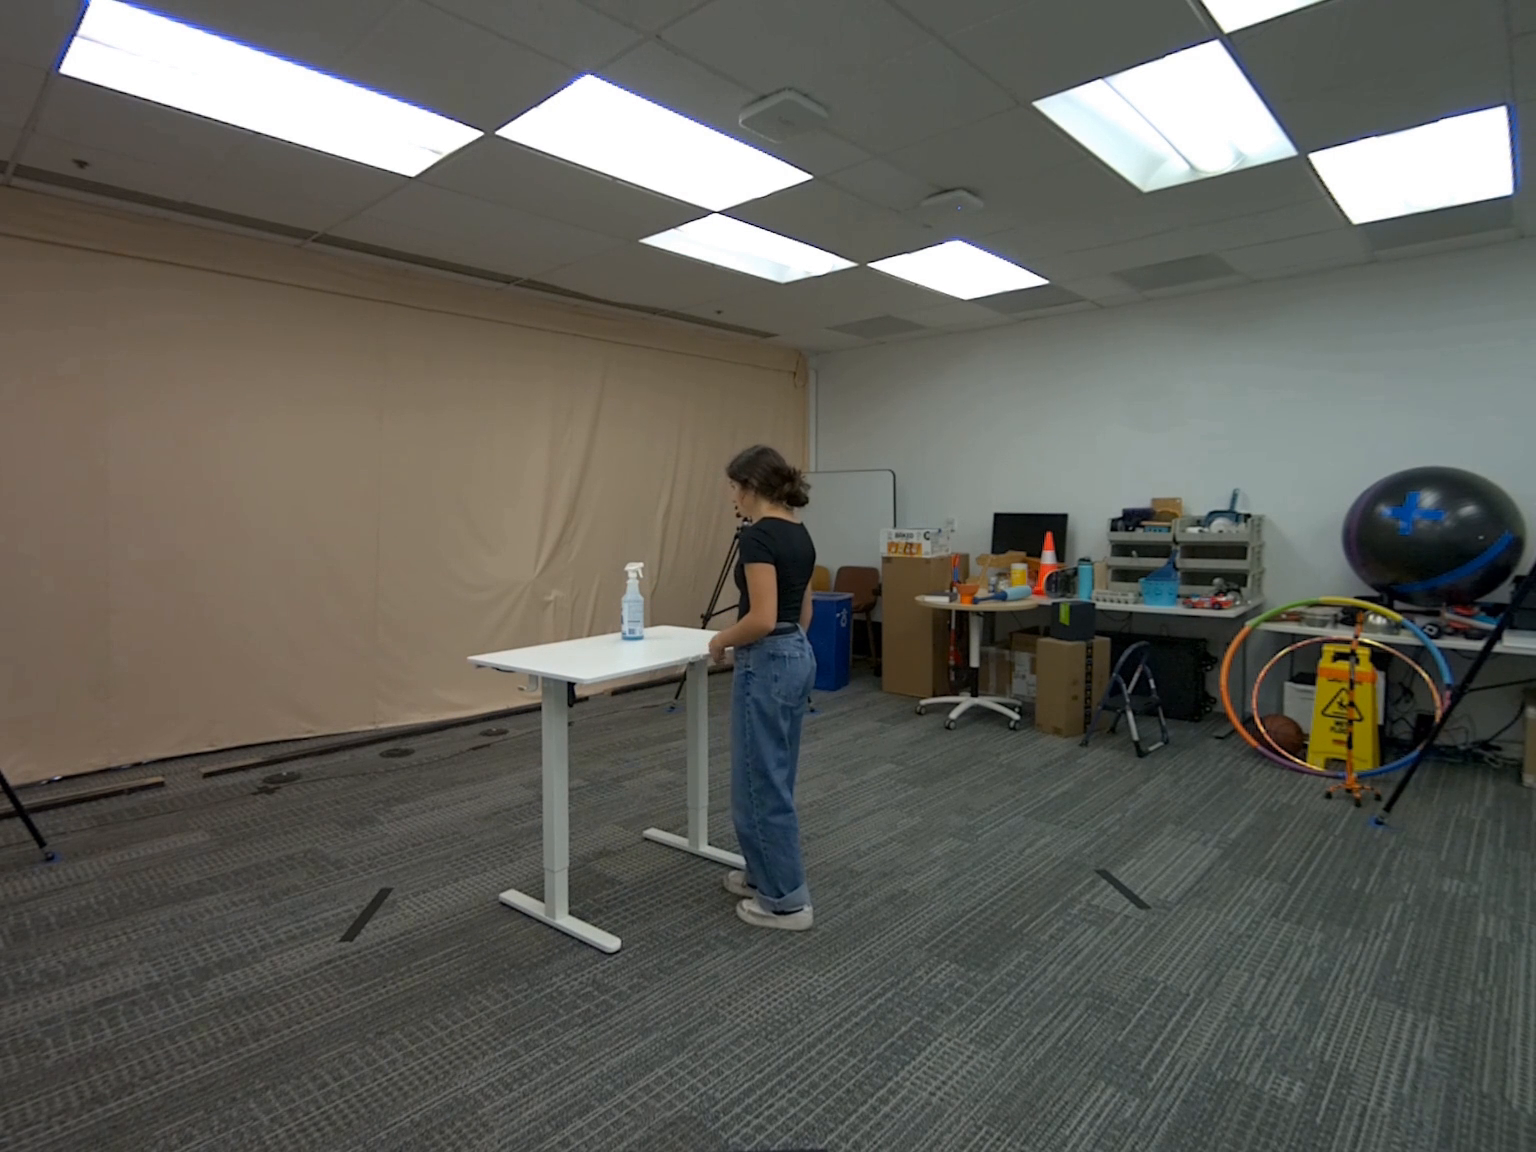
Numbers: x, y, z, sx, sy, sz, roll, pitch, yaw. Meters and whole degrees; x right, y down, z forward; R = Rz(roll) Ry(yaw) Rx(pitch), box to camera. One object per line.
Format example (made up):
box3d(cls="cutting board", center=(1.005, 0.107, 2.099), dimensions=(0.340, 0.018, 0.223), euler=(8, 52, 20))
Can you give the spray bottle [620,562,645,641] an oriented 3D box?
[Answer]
box3d(cls="spray bottle", center=(-0.528, 0.098, 3.252), dimensions=(0.085, 0.297, 0.092), euler=(-2, 4, -29))
